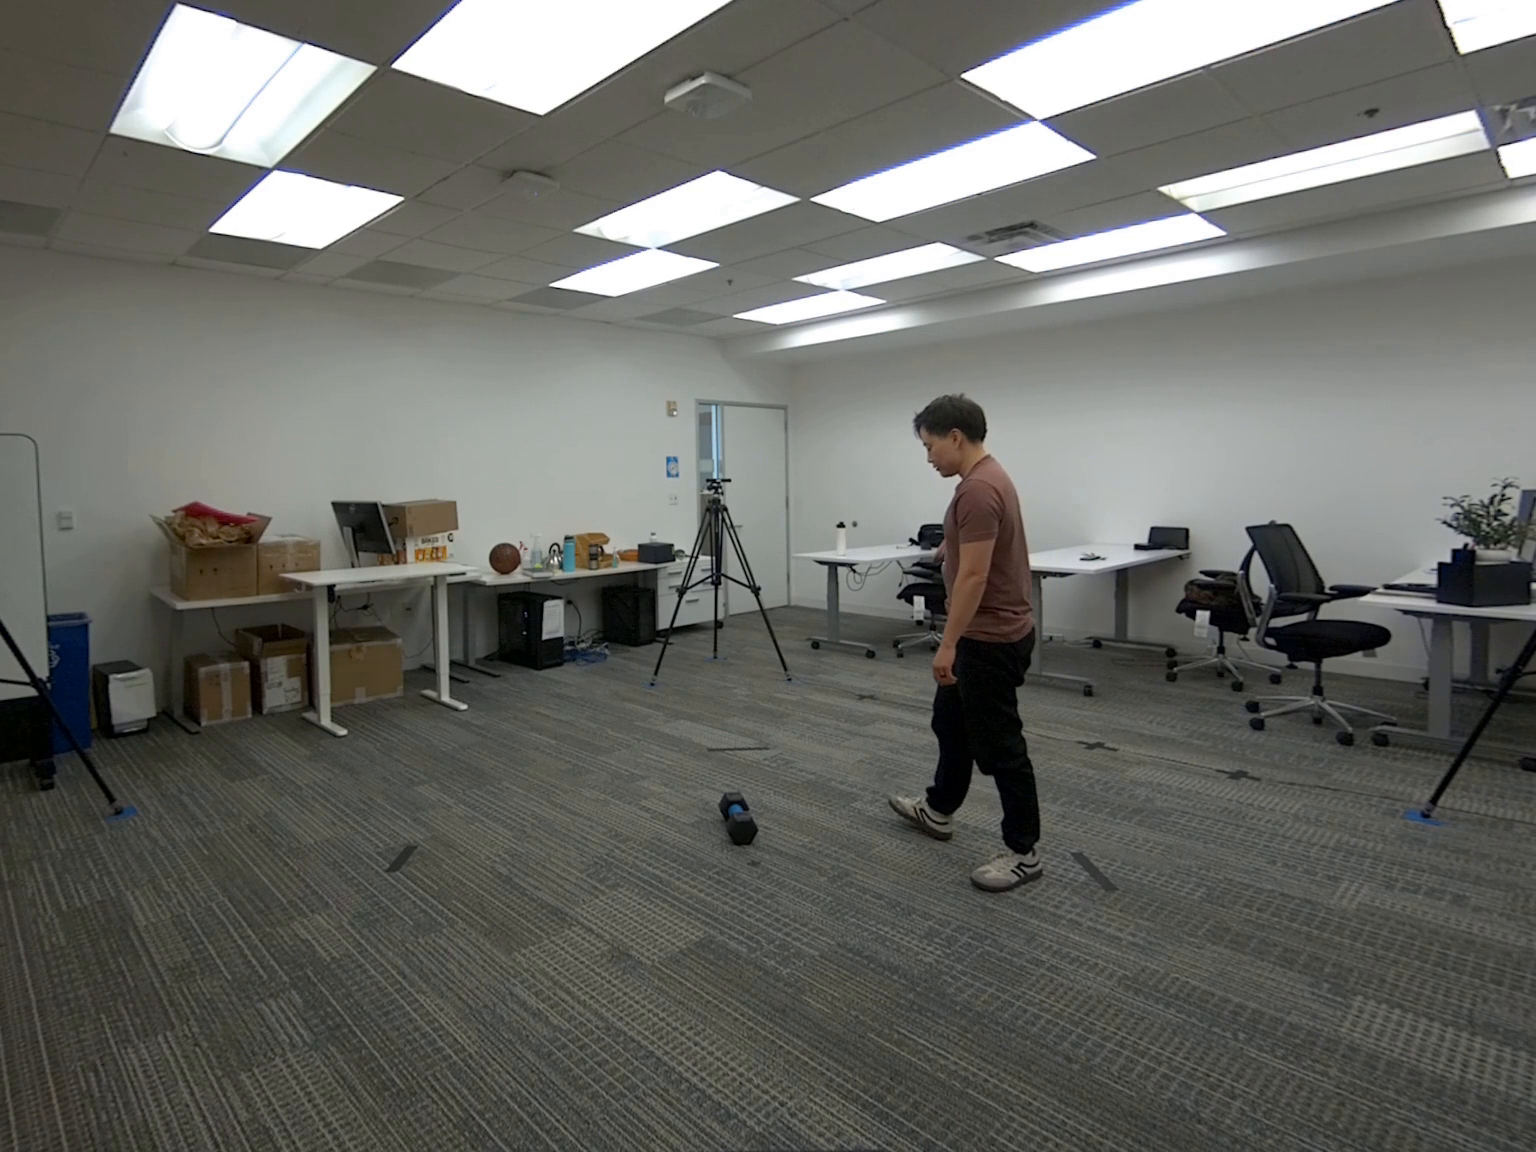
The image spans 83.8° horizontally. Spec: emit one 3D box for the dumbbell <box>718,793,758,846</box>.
[{"bbox_3d":[-0.119,0.960,3.397,0.107,0.123,0.297,29,1,-11],"label":"dumbbell"}]
